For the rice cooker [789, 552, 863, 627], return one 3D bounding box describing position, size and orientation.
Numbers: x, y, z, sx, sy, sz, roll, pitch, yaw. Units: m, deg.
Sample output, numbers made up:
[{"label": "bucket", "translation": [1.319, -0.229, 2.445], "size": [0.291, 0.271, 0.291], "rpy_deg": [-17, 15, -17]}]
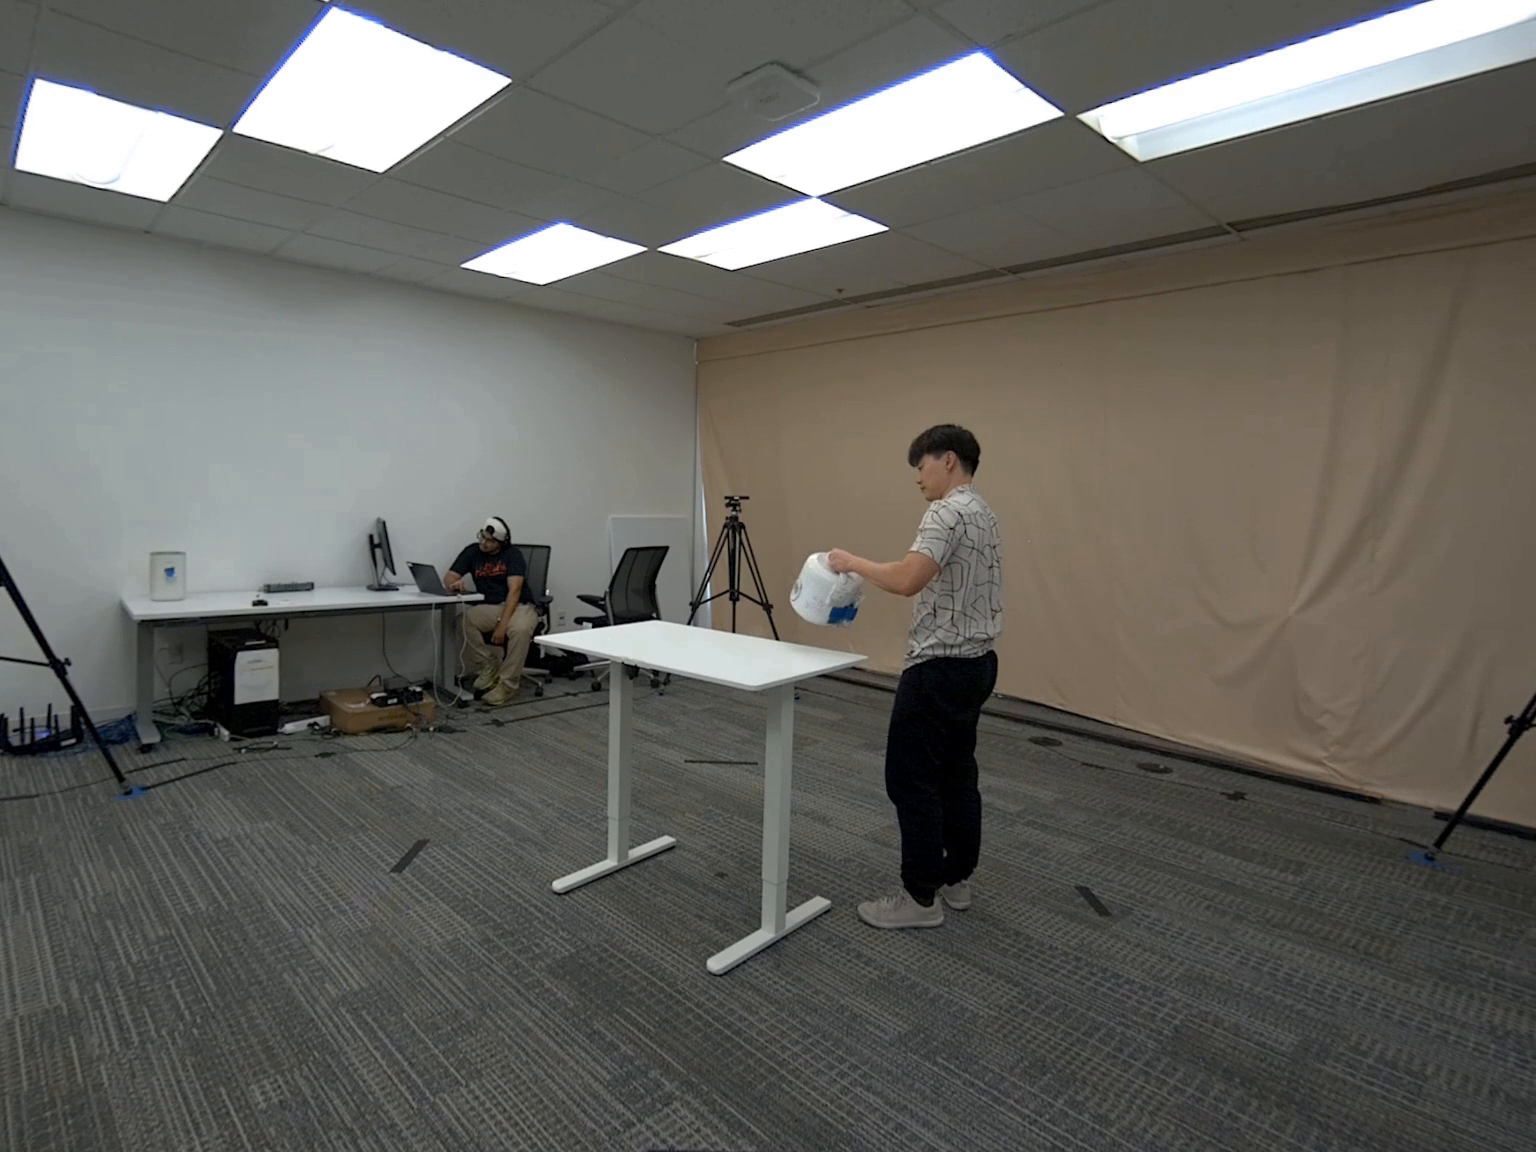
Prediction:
[{"label": "rice cooker", "translation": [0.207, 0.042, 2.933], "size": [0.213, 0.230, 0.226], "rpy_deg": [12, 29, -20]}]
